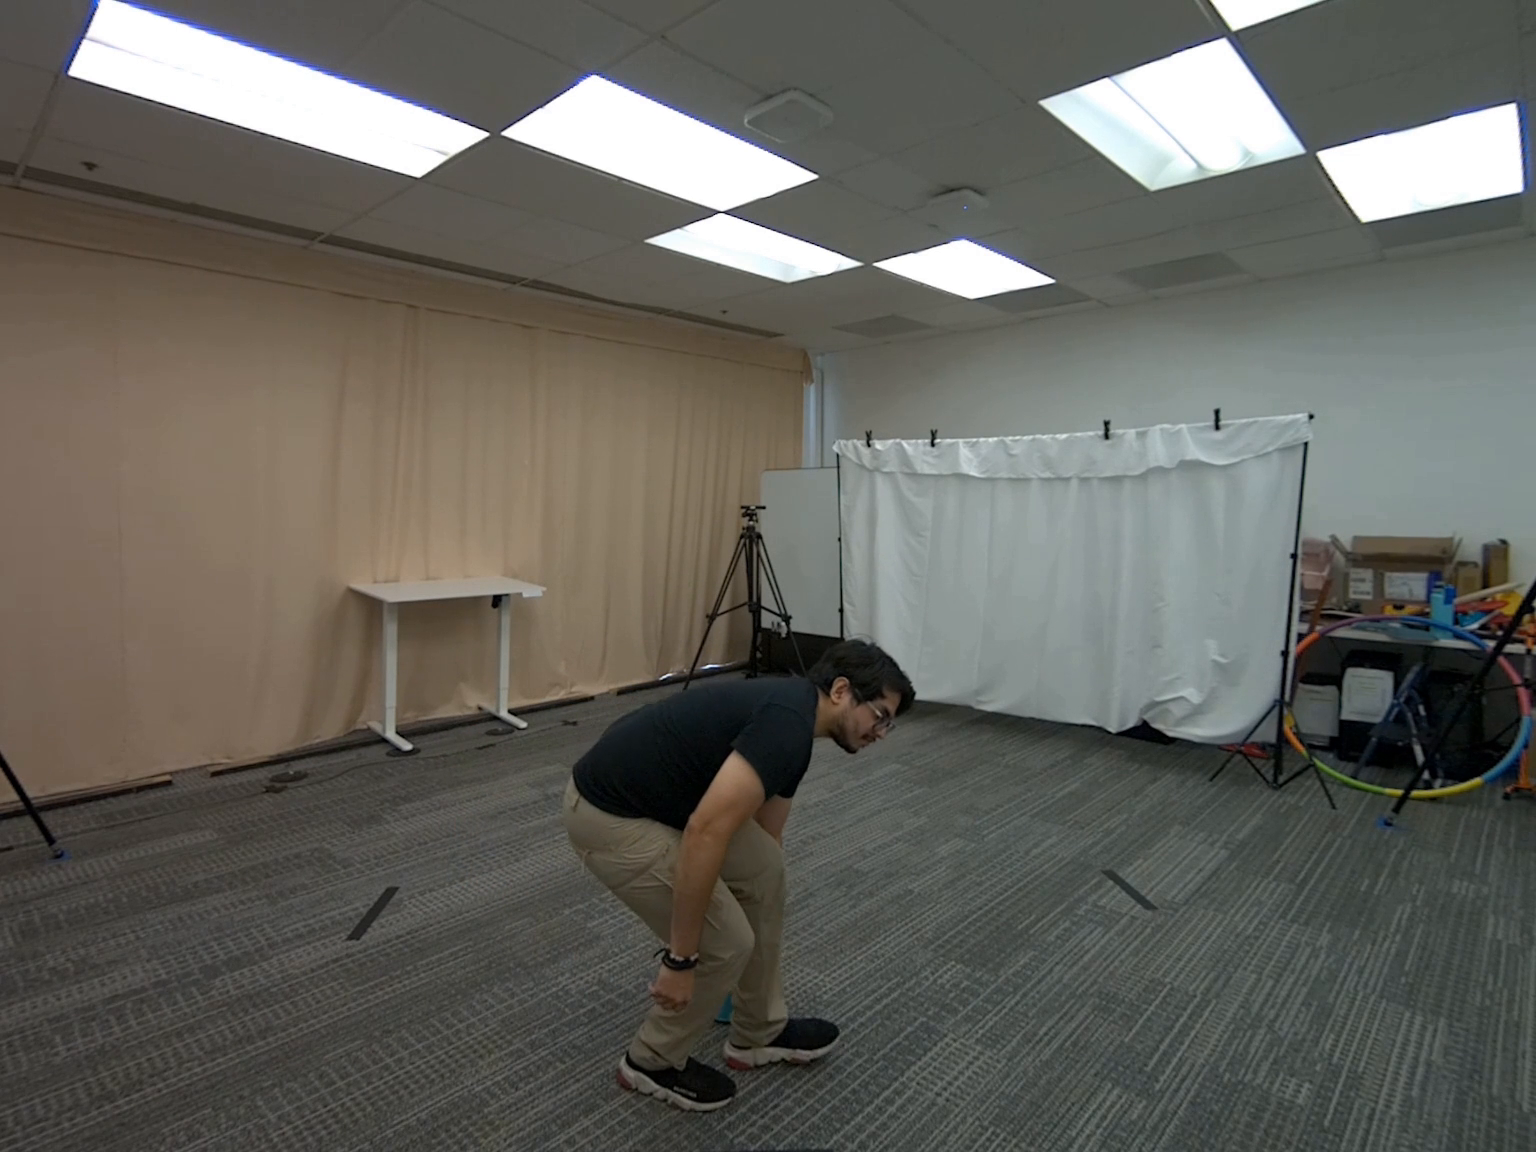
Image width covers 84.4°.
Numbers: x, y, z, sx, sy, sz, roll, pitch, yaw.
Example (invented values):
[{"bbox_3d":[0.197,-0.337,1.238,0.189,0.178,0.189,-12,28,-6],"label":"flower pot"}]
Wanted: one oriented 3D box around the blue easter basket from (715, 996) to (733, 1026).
[{"bbox_3d":[-0.090,1.119,2.340,0.243,0.156,0.244,-3,2,-2],"label":"blue easter basket"}]
